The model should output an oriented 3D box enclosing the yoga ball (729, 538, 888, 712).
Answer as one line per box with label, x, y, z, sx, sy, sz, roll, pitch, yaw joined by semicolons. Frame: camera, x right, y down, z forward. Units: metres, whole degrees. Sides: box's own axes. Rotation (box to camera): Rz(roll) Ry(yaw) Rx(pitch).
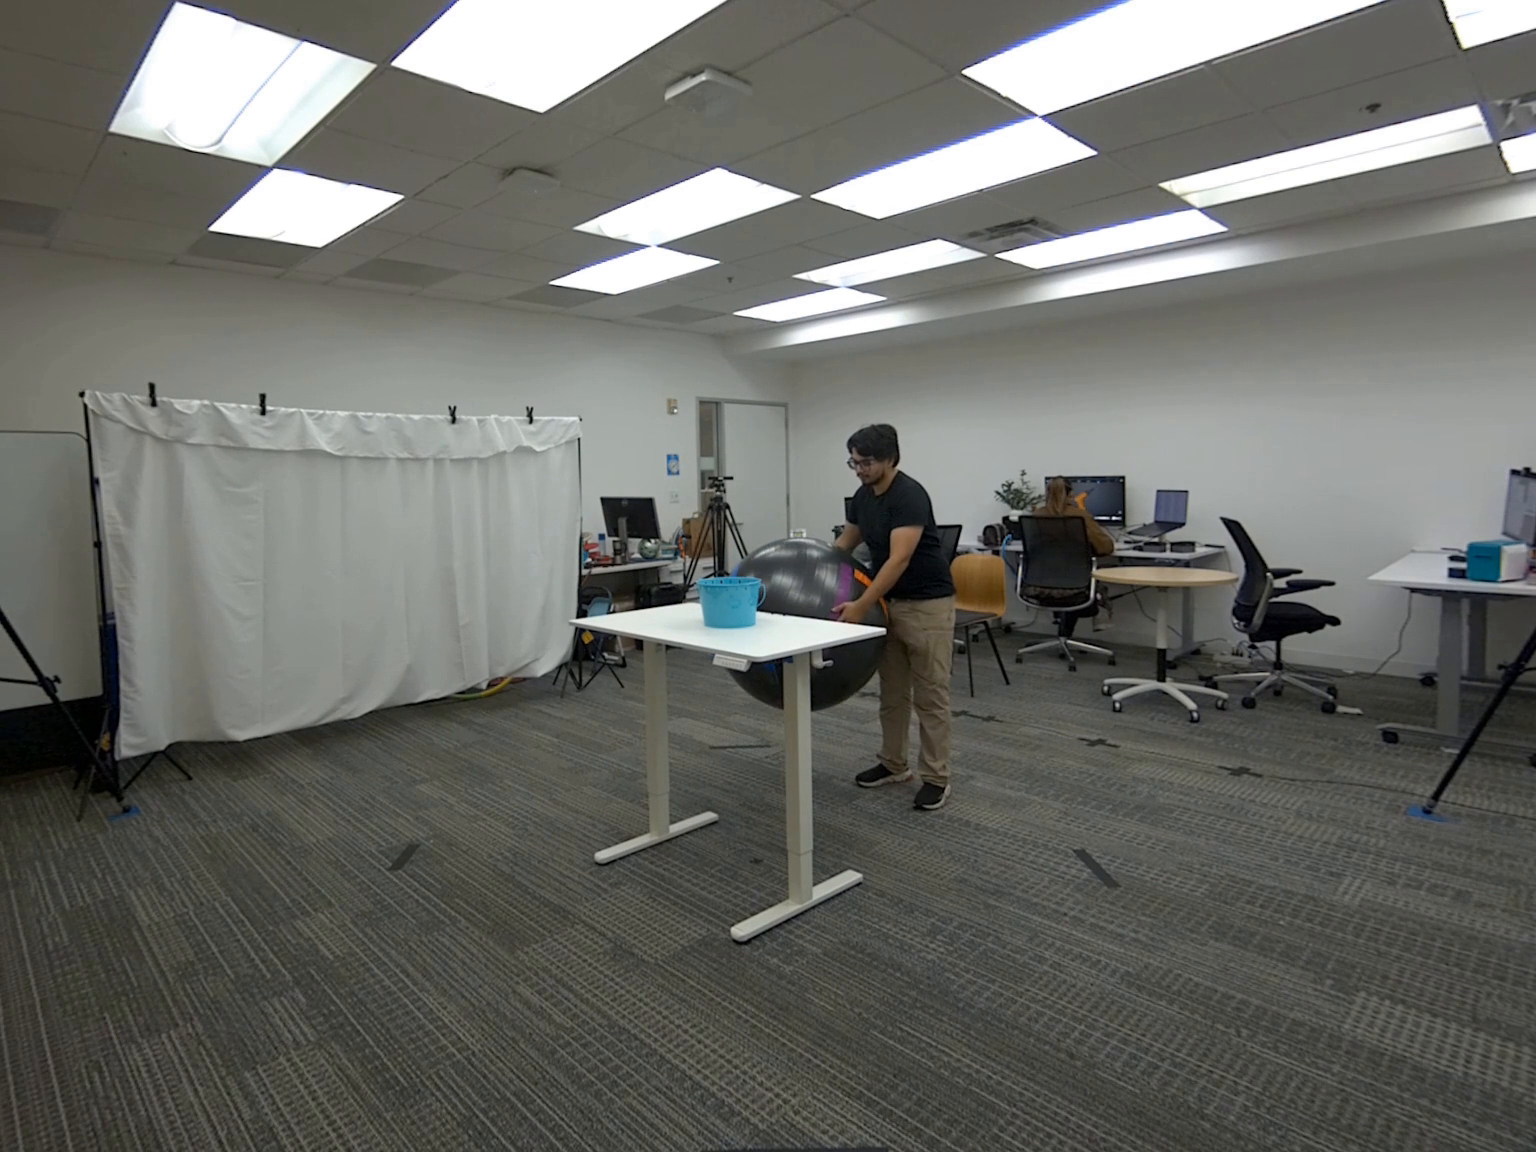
yoga ball;0.149;0.220;3.761;0.757;0.755;0.762;-1;5;-2
